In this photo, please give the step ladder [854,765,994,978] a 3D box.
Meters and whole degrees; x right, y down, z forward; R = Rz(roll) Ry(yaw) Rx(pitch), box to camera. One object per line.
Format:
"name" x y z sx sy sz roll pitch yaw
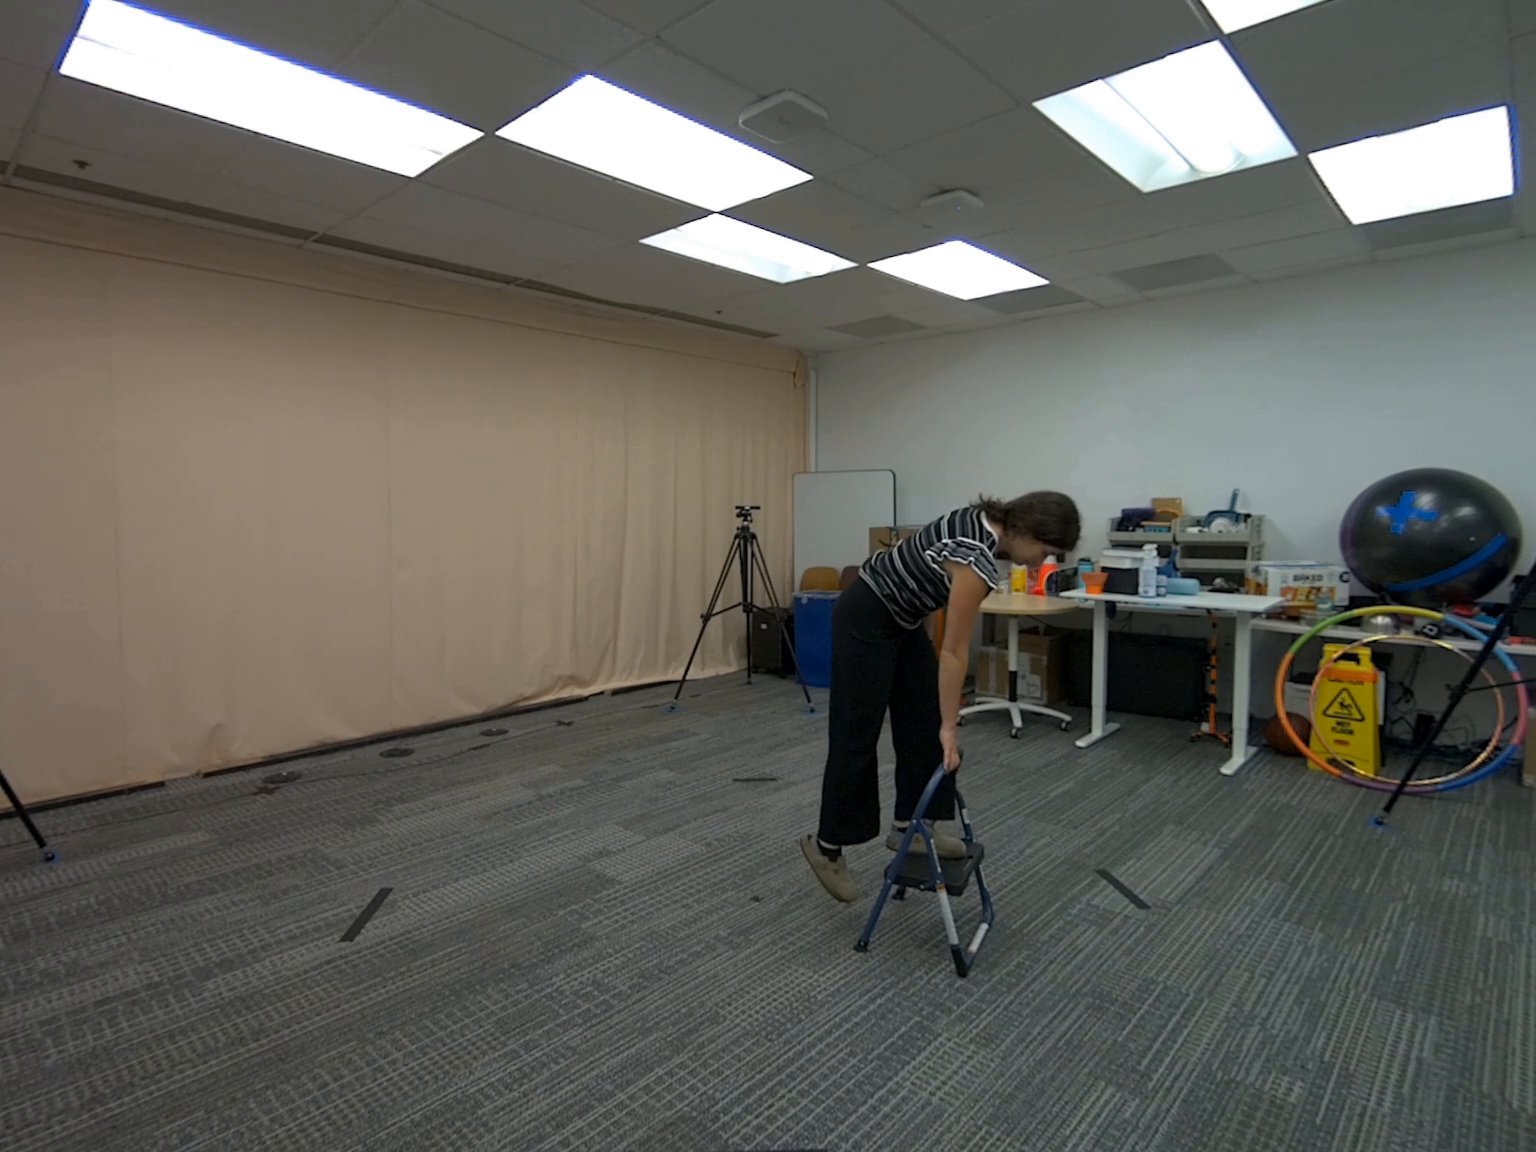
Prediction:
"step ladder" 0.521 0.863 2.718 0.359 0.604 0.420 1 4 27
